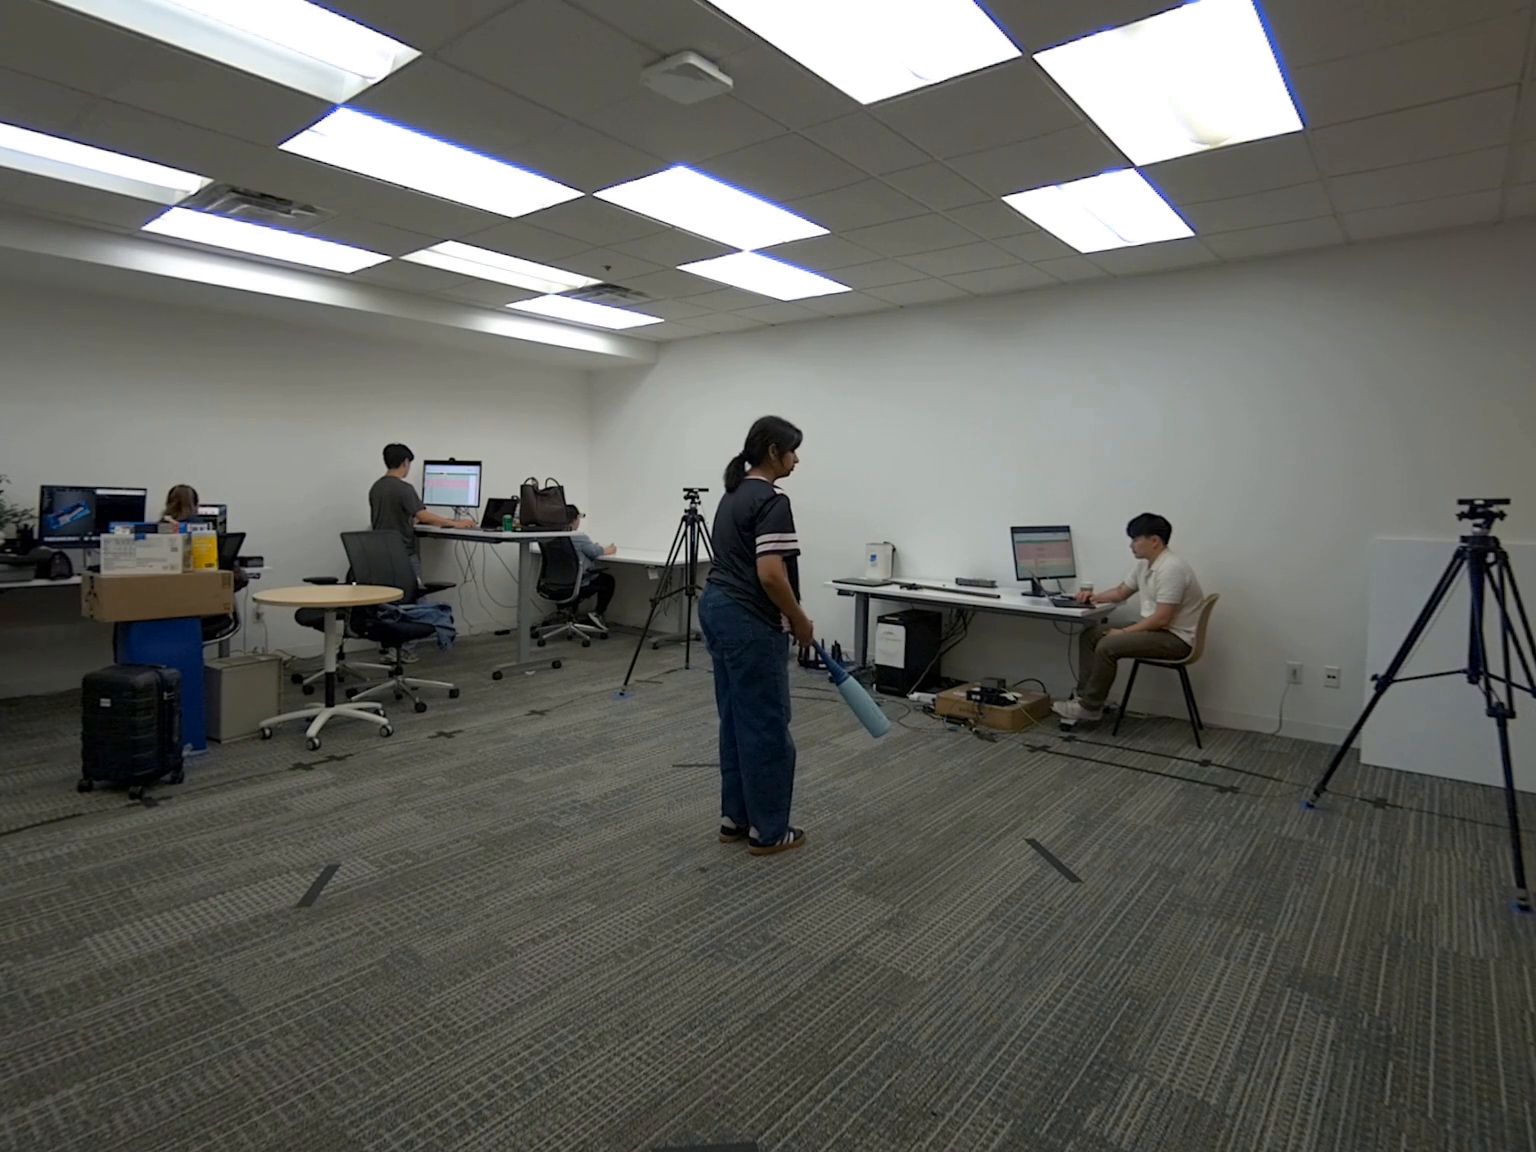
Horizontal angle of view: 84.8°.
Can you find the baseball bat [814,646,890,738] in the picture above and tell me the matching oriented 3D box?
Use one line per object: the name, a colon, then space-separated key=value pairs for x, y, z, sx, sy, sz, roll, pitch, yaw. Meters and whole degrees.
baseball bat: x=0.269 y=0.397 z=3.302 sx=0.089 sy=0.547 sz=0.088 roll=-37 pitch=-5 yaw=-4
